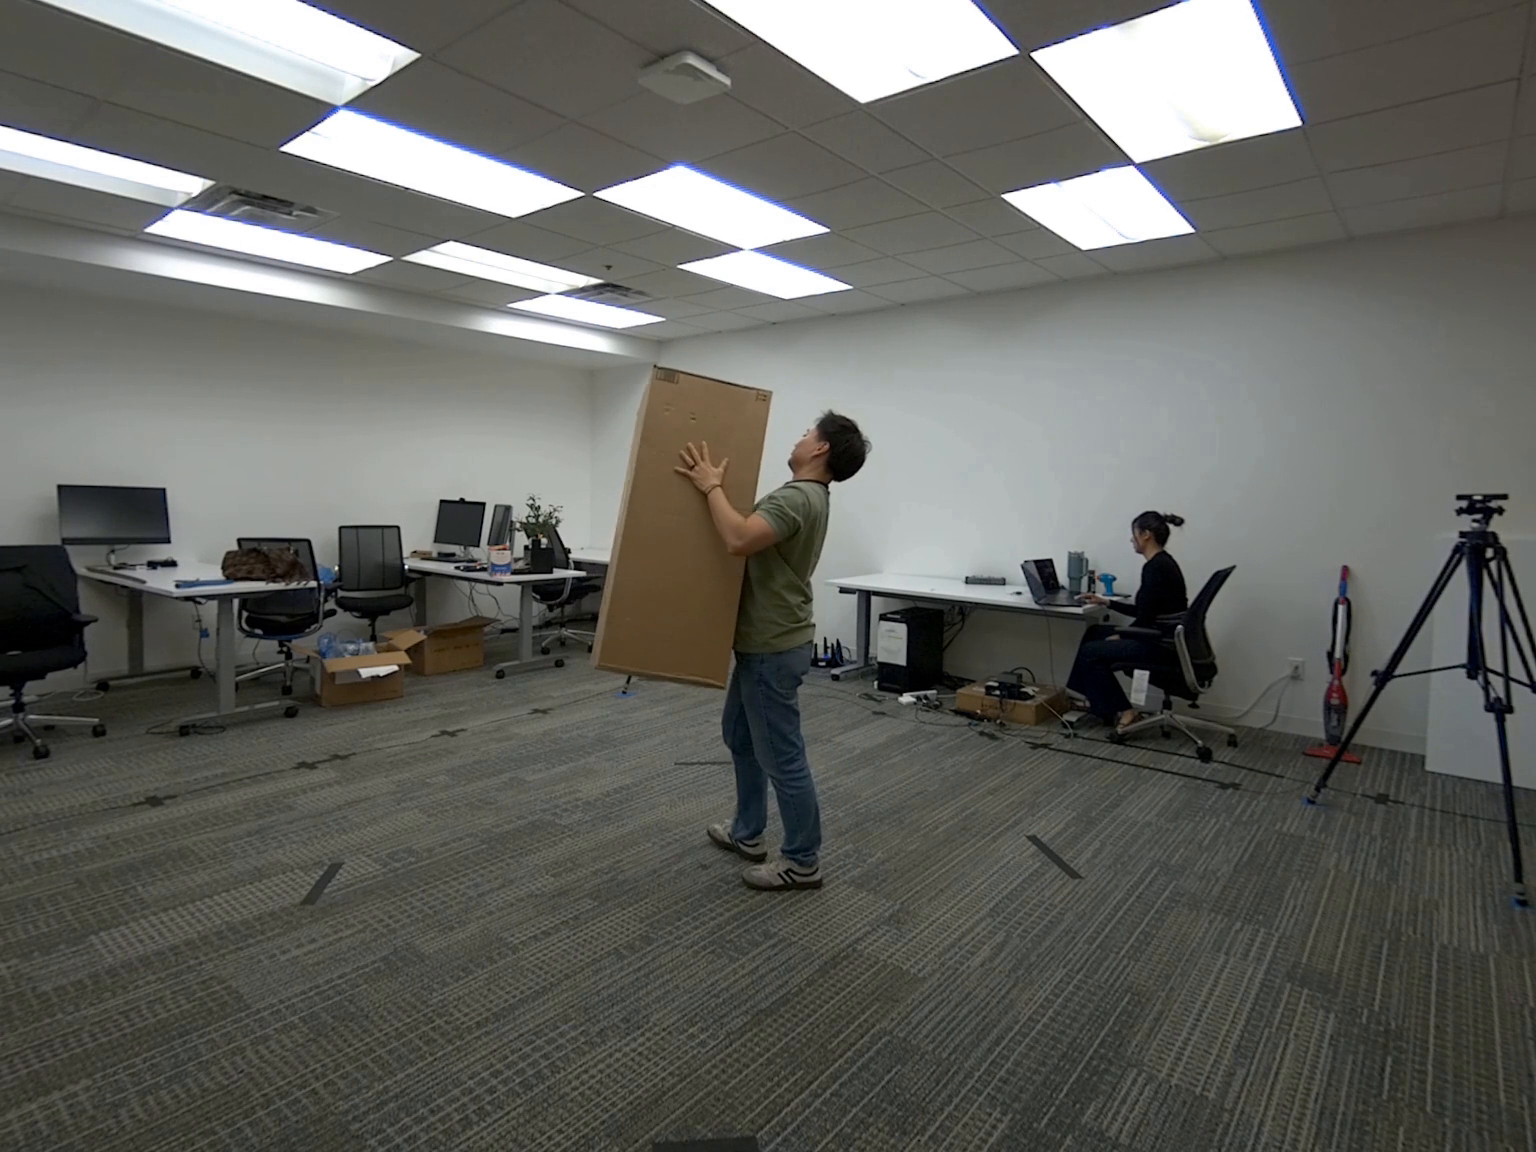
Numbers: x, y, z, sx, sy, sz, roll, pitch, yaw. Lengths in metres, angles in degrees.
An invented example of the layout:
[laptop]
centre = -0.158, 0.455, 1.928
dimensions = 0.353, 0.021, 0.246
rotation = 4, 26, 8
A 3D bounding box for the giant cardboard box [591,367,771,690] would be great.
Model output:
[giant cardboard box]
centre = -0.338, -0.142, 3.067
dimensions = 0.421, 1.035, 0.579
rotation = 11, -11, -11
